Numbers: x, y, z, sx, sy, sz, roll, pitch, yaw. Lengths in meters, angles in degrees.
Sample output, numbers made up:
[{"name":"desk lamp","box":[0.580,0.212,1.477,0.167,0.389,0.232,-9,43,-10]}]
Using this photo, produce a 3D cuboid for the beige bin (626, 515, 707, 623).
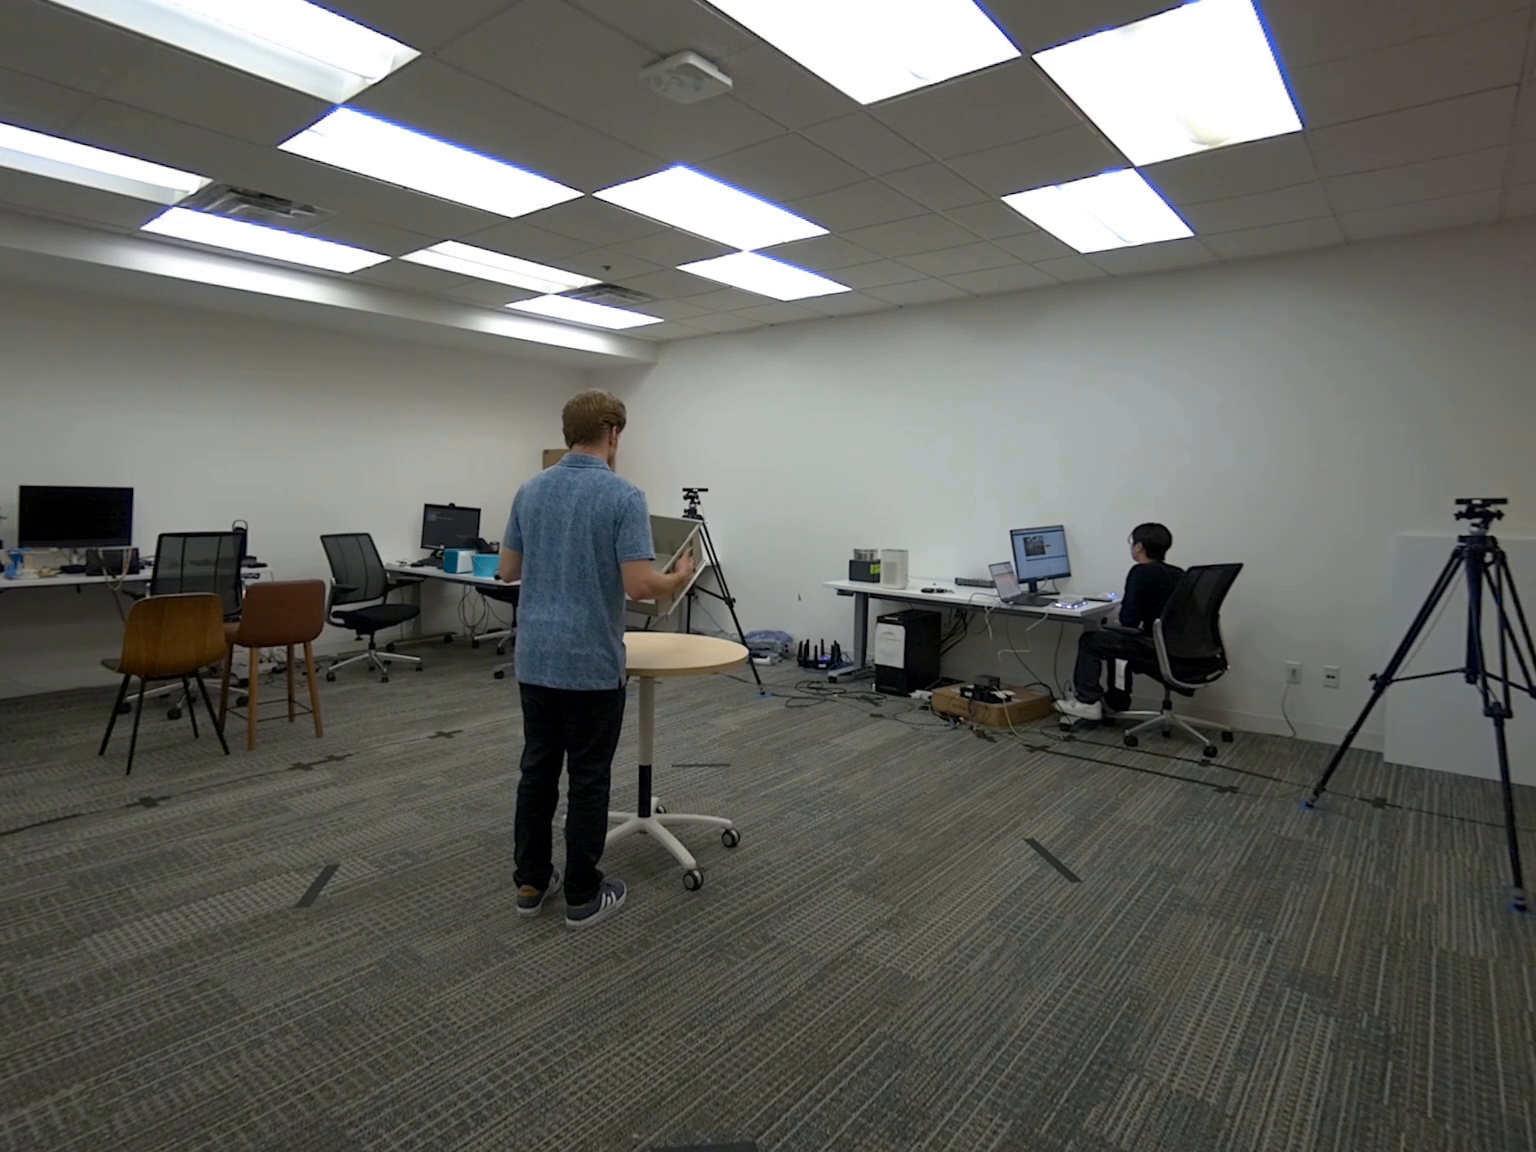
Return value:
[{"name":"beige bin","box":[-0.489,-0.043,3.024,0.433,0.183,0.379,8,39,23]}]
